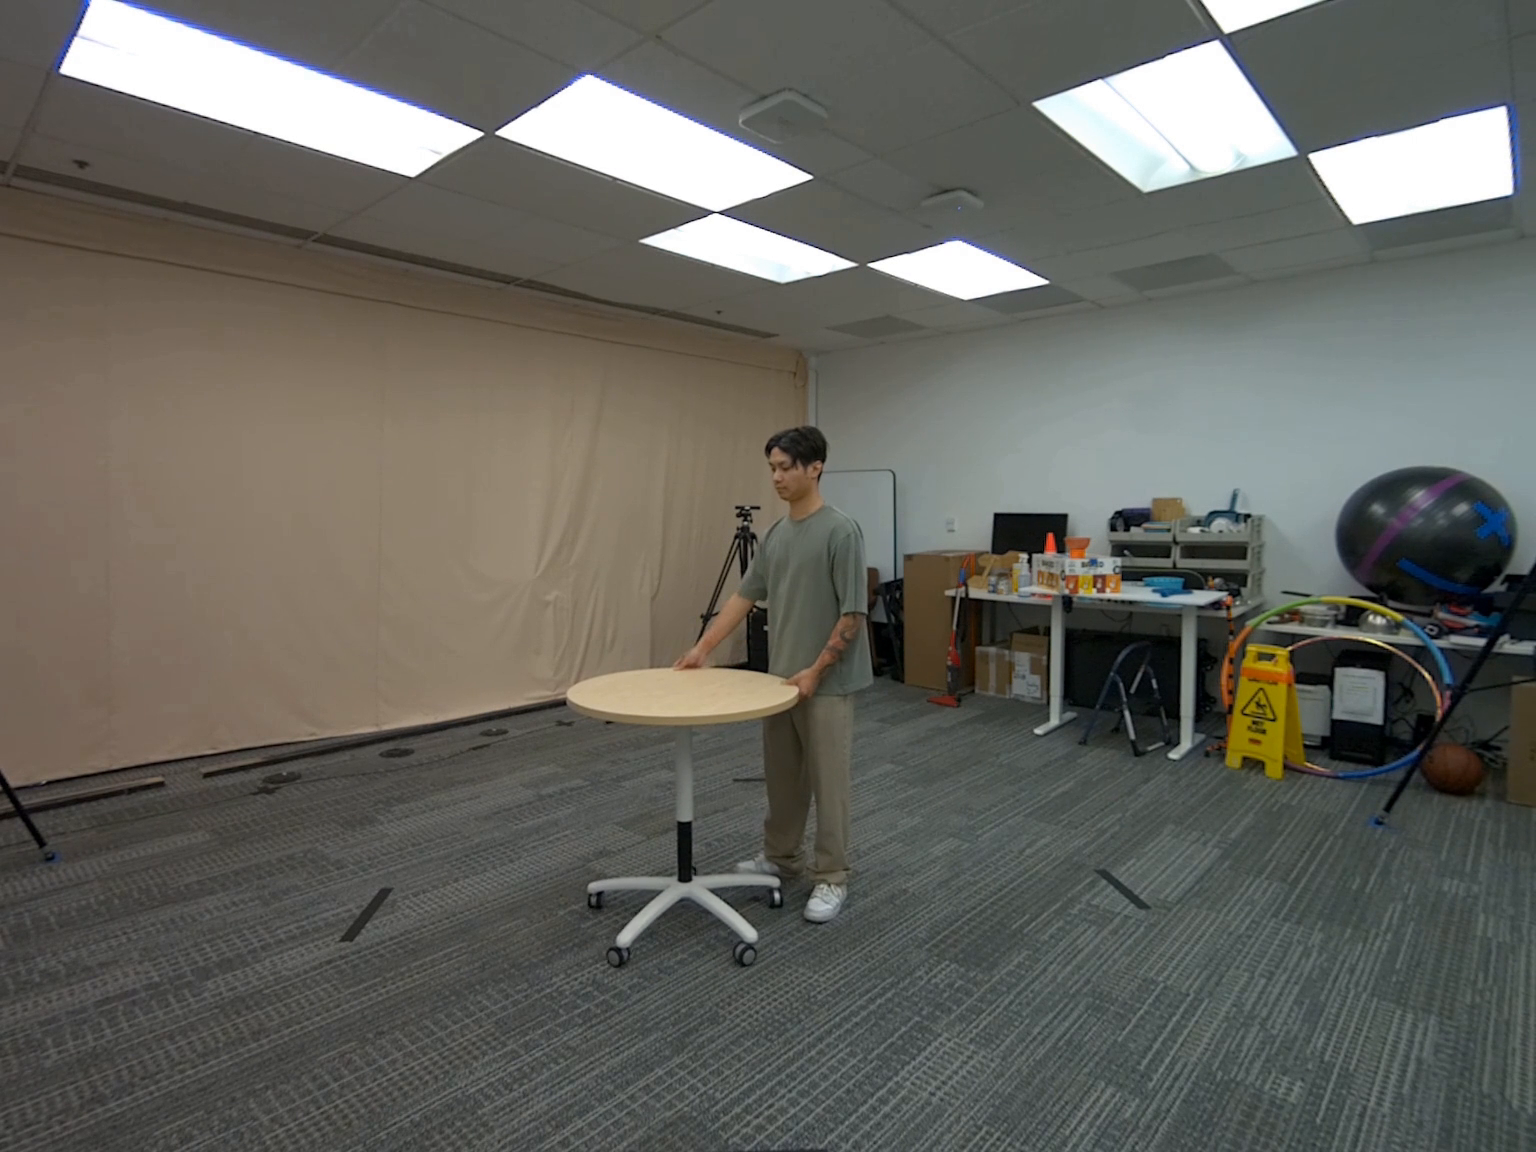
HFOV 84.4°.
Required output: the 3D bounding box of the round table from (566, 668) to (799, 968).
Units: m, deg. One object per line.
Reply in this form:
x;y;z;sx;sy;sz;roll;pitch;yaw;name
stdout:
-0.277;0.769;2.795;0.784;0.785;0.787;-1;3;-2;round table
